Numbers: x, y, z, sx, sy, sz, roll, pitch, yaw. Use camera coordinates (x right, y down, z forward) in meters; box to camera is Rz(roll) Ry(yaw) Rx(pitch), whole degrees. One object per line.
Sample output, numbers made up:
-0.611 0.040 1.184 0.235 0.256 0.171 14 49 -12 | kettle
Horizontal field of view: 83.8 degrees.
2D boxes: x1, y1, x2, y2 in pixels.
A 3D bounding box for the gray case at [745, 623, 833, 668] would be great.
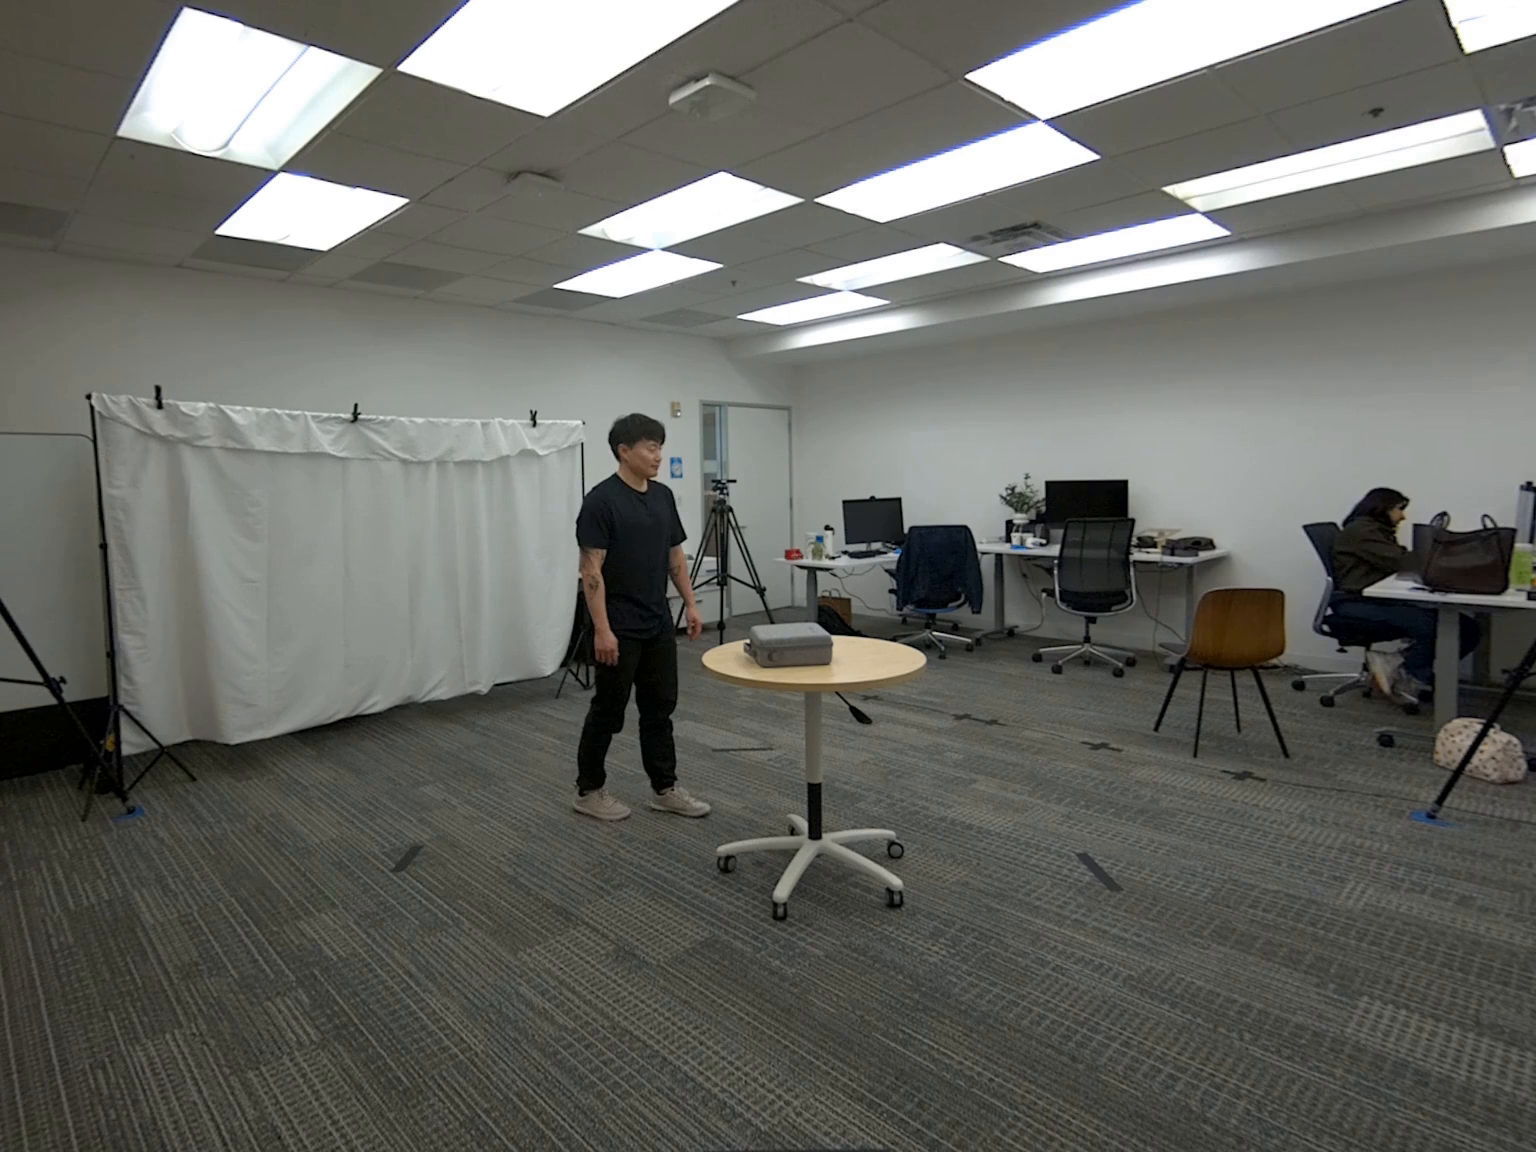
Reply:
0.064 0.234 2.905 0.259 0.104 0.260 -3 8 -7 | gray case
